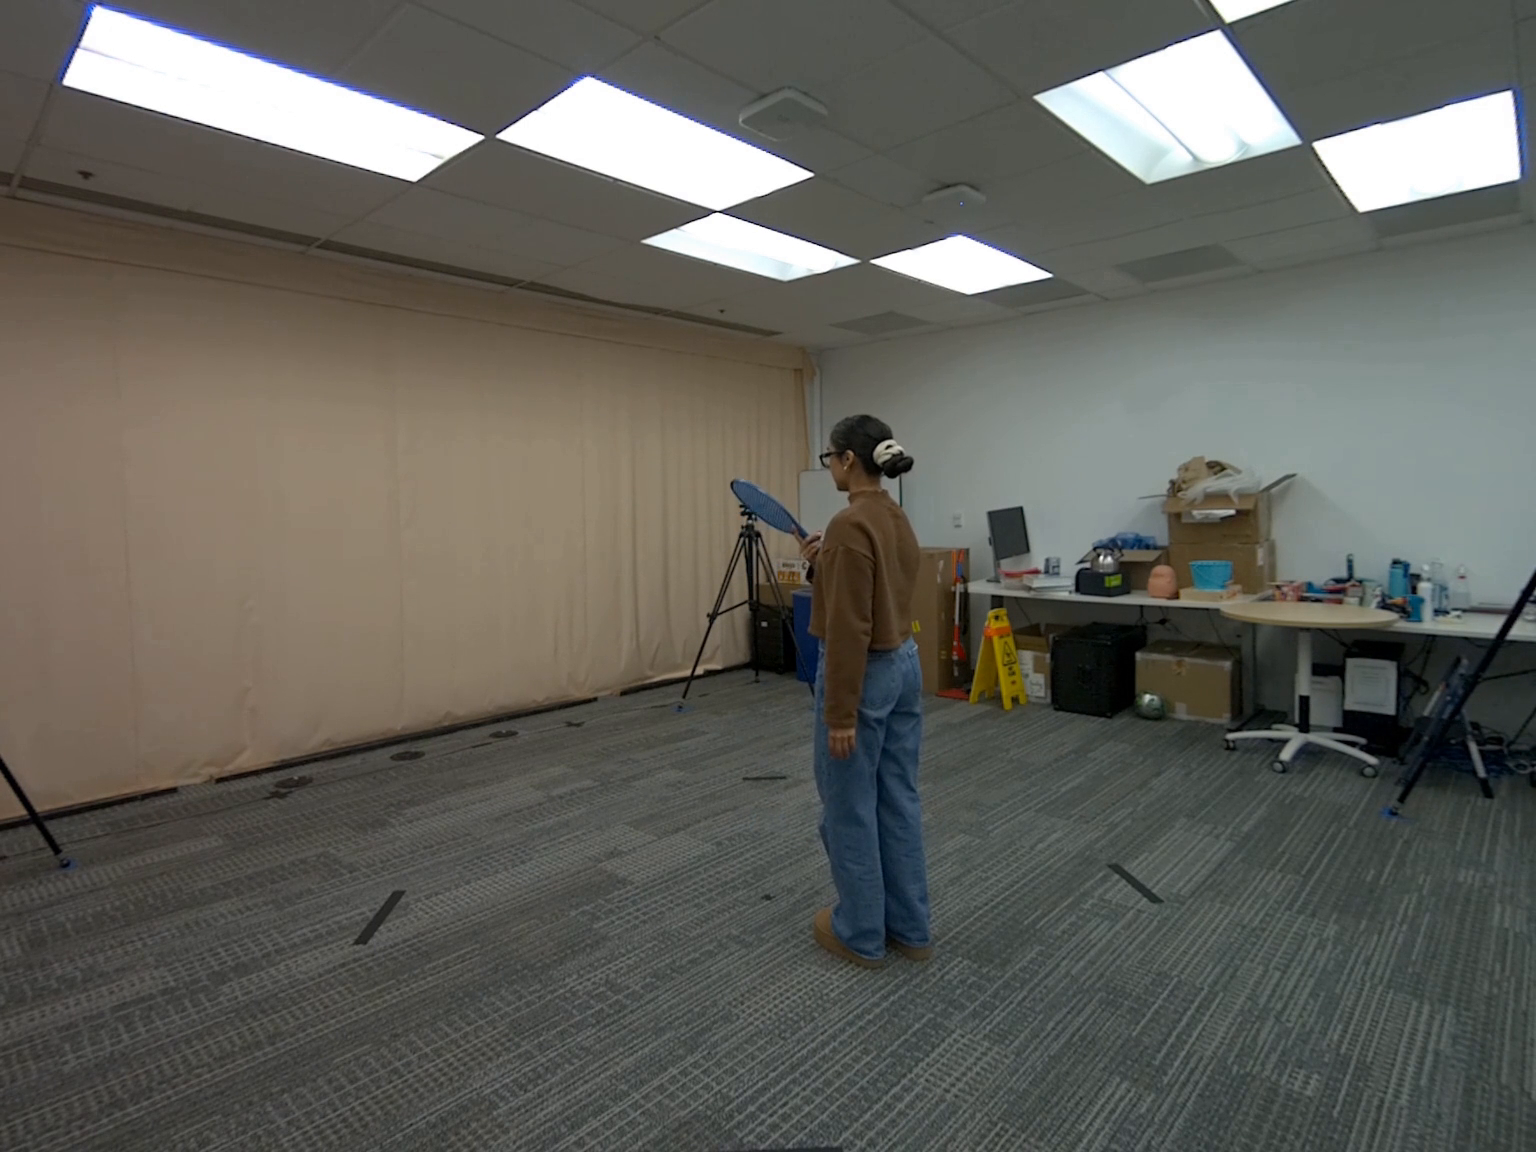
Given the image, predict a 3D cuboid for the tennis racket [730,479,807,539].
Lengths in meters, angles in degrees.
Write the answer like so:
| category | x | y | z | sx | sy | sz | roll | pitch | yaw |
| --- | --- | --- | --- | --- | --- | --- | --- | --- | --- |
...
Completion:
| category | x | y | z | sx | sy | sz | roll | pitch | yaw |
| --- | --- | --- | --- | --- | --- | --- | --- | --- | --- |
| tennis racket | 0.047 | -0.166 | 2.692 | 0.440 | 0.031 | 0.211 | 37 | -20 | 13 |
